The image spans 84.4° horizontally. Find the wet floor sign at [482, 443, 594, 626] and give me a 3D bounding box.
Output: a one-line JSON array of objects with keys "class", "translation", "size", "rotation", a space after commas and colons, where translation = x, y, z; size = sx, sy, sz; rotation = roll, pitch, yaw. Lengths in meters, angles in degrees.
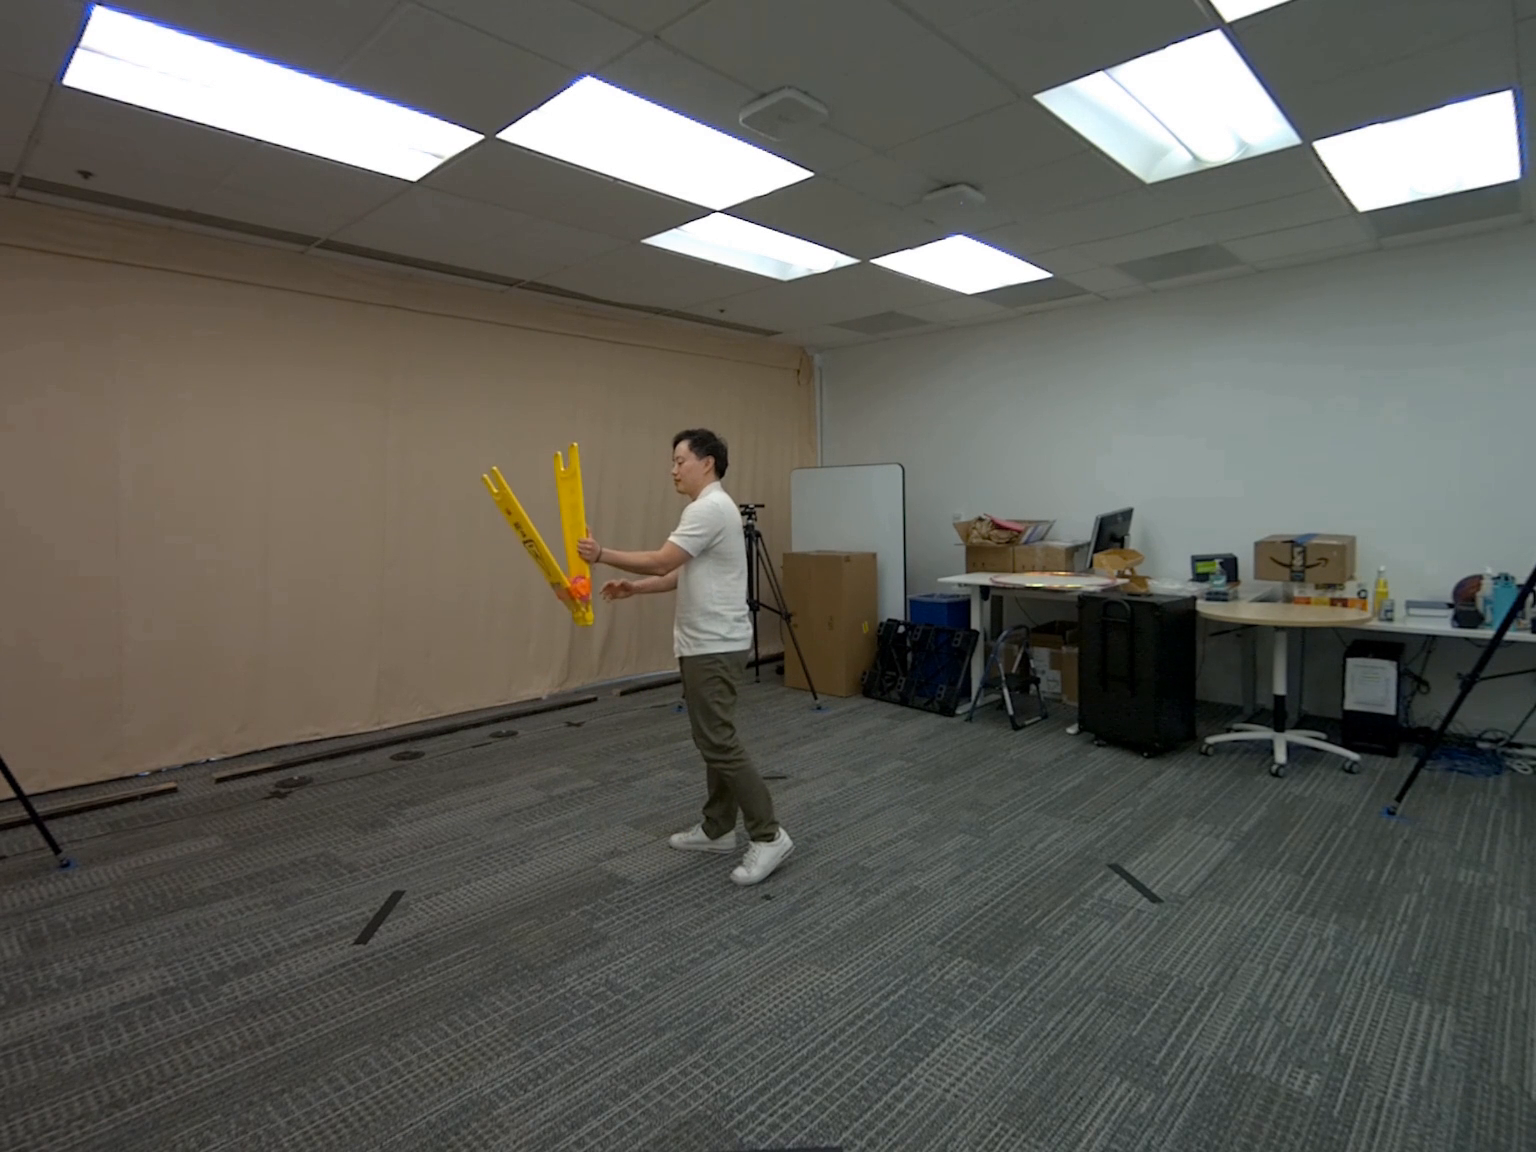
[{"class": "wet floor sign", "translation": [-0.785, -0.117, 3.112], "size": [0.285, 0.643, 0.288], "rotation": [-21, 5, -25]}]
